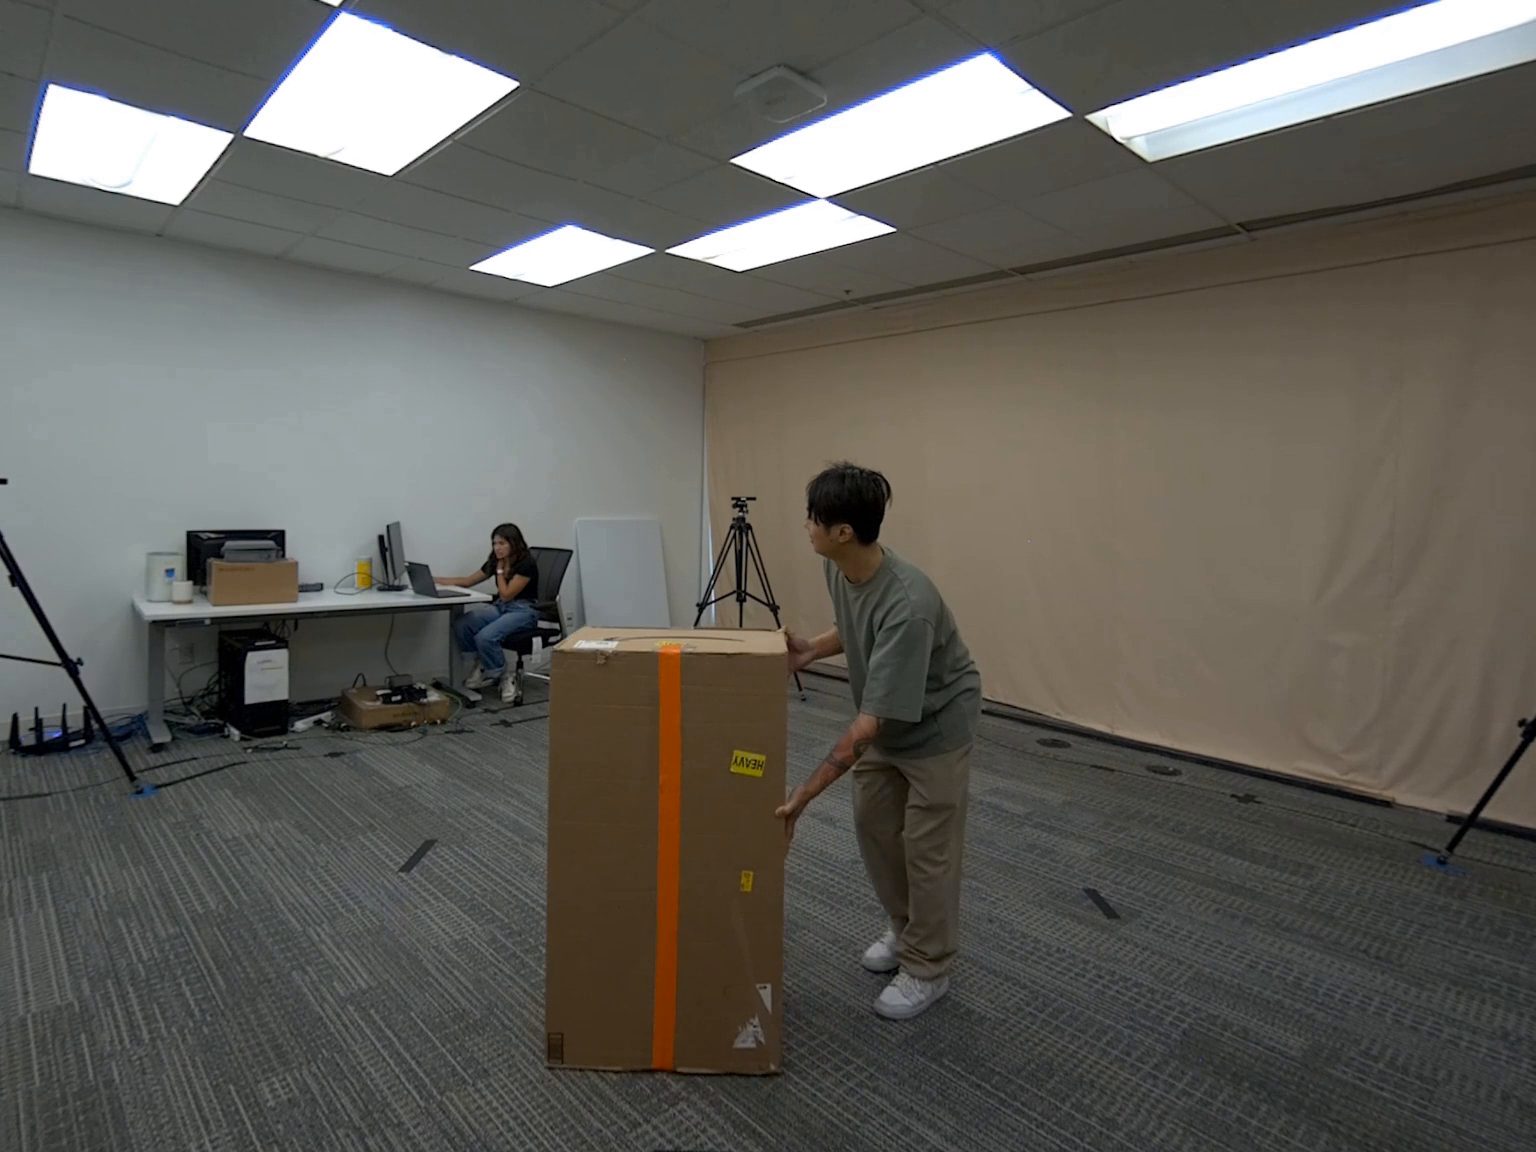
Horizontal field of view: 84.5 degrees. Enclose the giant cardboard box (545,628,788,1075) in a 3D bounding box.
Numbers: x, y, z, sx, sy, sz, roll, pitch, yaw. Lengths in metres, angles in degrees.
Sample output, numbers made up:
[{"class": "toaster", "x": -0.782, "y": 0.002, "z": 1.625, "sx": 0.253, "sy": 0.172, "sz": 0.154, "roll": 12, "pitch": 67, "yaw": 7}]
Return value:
[{"class": "giant cardboard box", "x": -0.256, "y": 0.676, "z": 2.228, "sx": 0.578, "sy": 1.024, "sz": 0.426, "roll": 1, "pitch": 2, "yaw": 0}]
